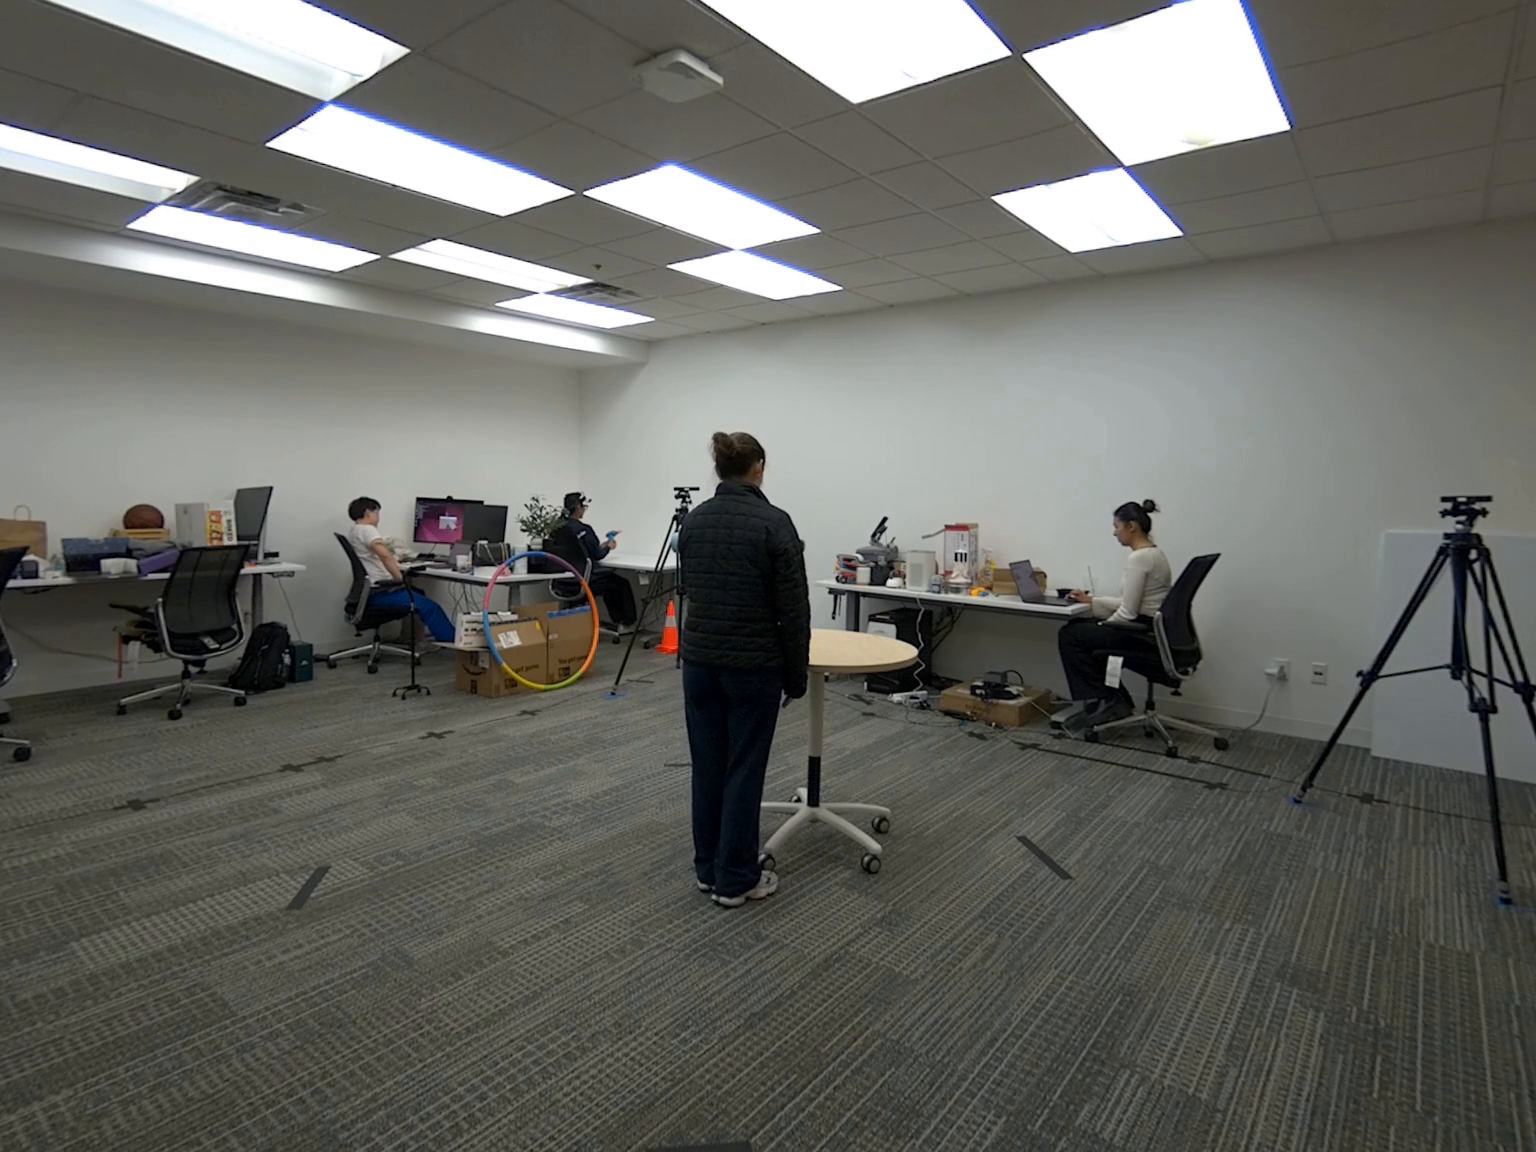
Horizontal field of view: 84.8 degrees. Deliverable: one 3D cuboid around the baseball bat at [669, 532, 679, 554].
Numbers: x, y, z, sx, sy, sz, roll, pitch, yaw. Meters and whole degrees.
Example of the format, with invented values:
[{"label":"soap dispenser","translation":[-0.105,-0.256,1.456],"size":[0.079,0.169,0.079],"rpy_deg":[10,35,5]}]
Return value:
[{"label":"baseball bat","translation":[-0.093,-0.126,3.295],"size":[0.556,0.089,0.087],"rpy_deg":[2,4,24]}]
